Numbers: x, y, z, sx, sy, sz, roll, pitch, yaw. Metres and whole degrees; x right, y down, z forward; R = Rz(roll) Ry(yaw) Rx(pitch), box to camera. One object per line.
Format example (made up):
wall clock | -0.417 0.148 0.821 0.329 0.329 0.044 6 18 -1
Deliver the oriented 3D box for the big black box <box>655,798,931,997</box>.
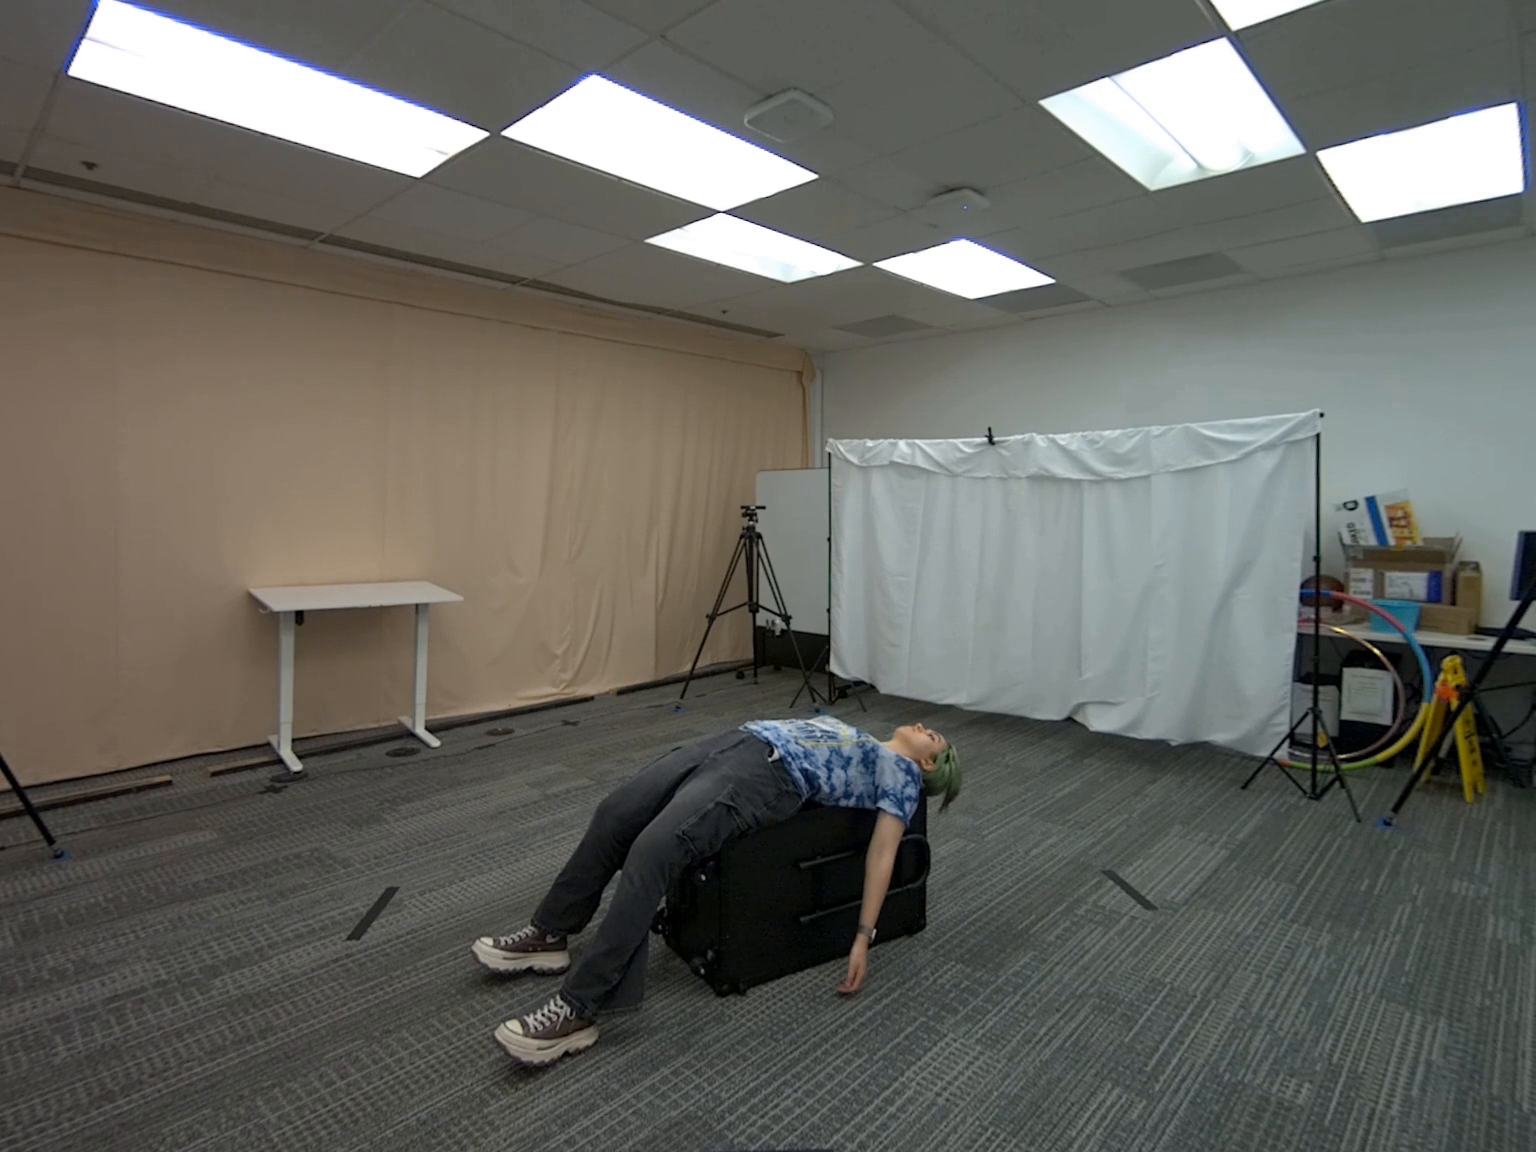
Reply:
big black box | 0.080 0.926 2.685 0.839 0.520 0.408 -3 5 -30
